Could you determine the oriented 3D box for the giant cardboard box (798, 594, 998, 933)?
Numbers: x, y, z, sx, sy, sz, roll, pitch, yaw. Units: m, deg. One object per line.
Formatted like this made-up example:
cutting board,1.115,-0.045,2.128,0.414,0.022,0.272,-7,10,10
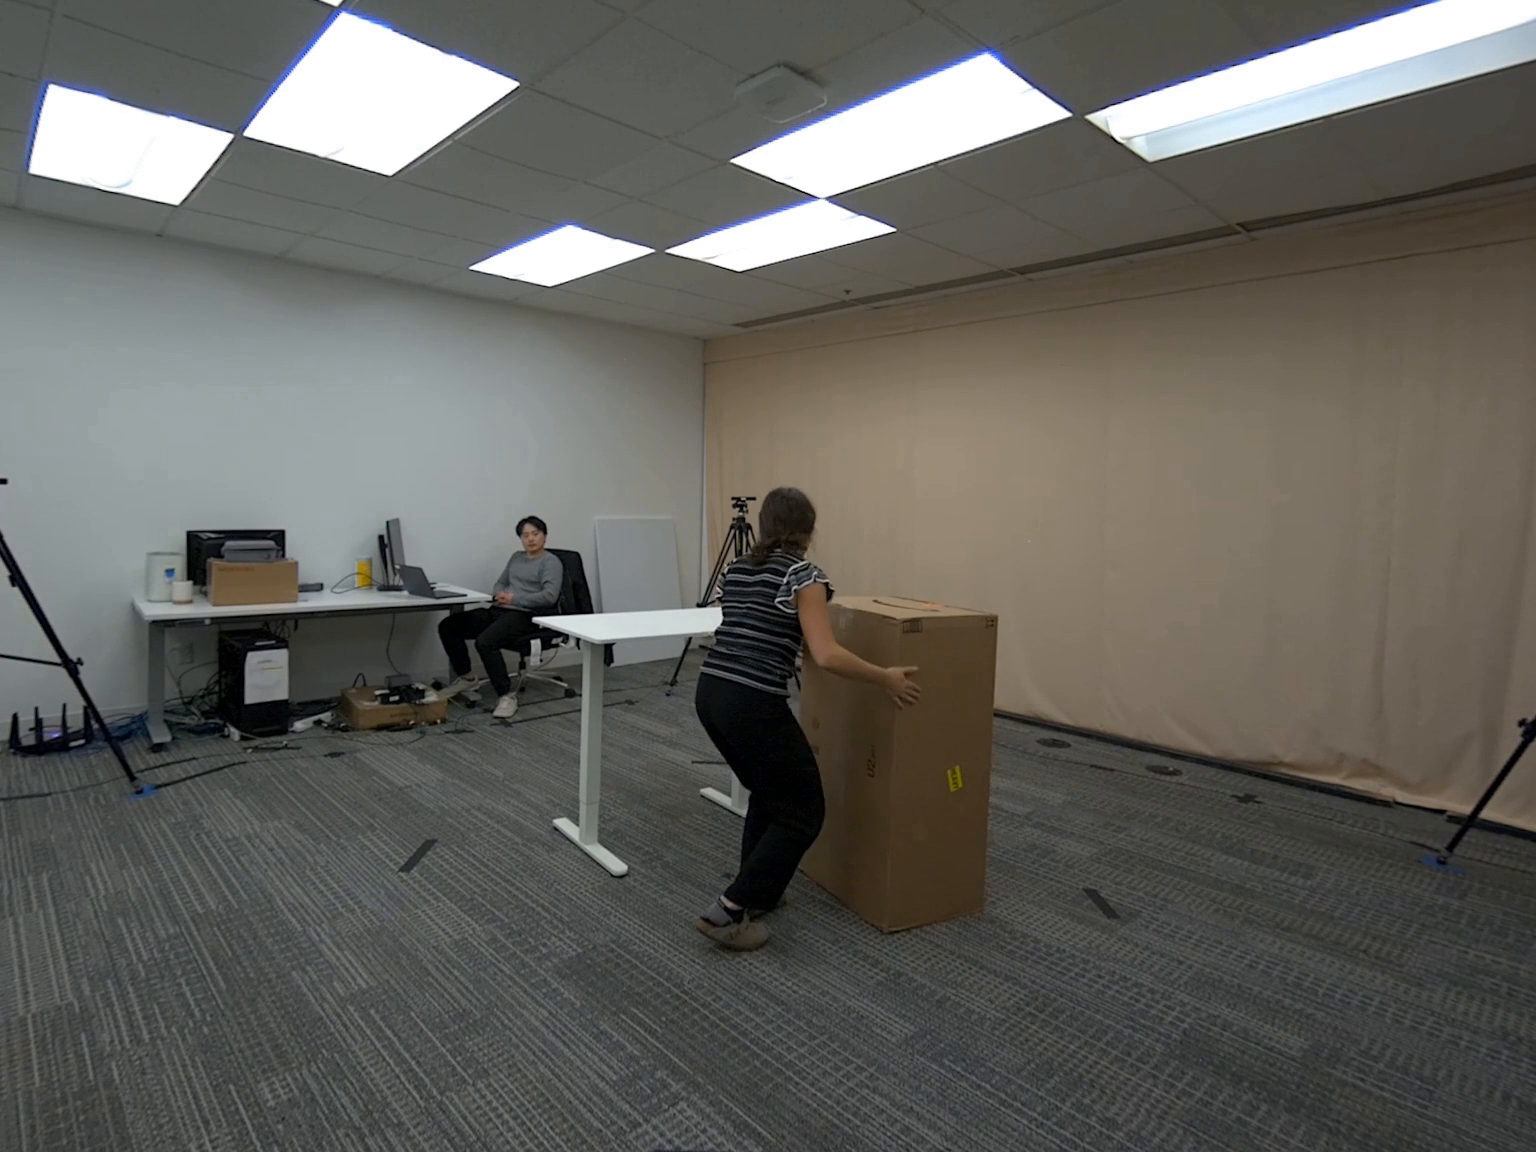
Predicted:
giant cardboard box,0.437,0.616,3.034,0.417,1.024,0.590,1,3,-29
